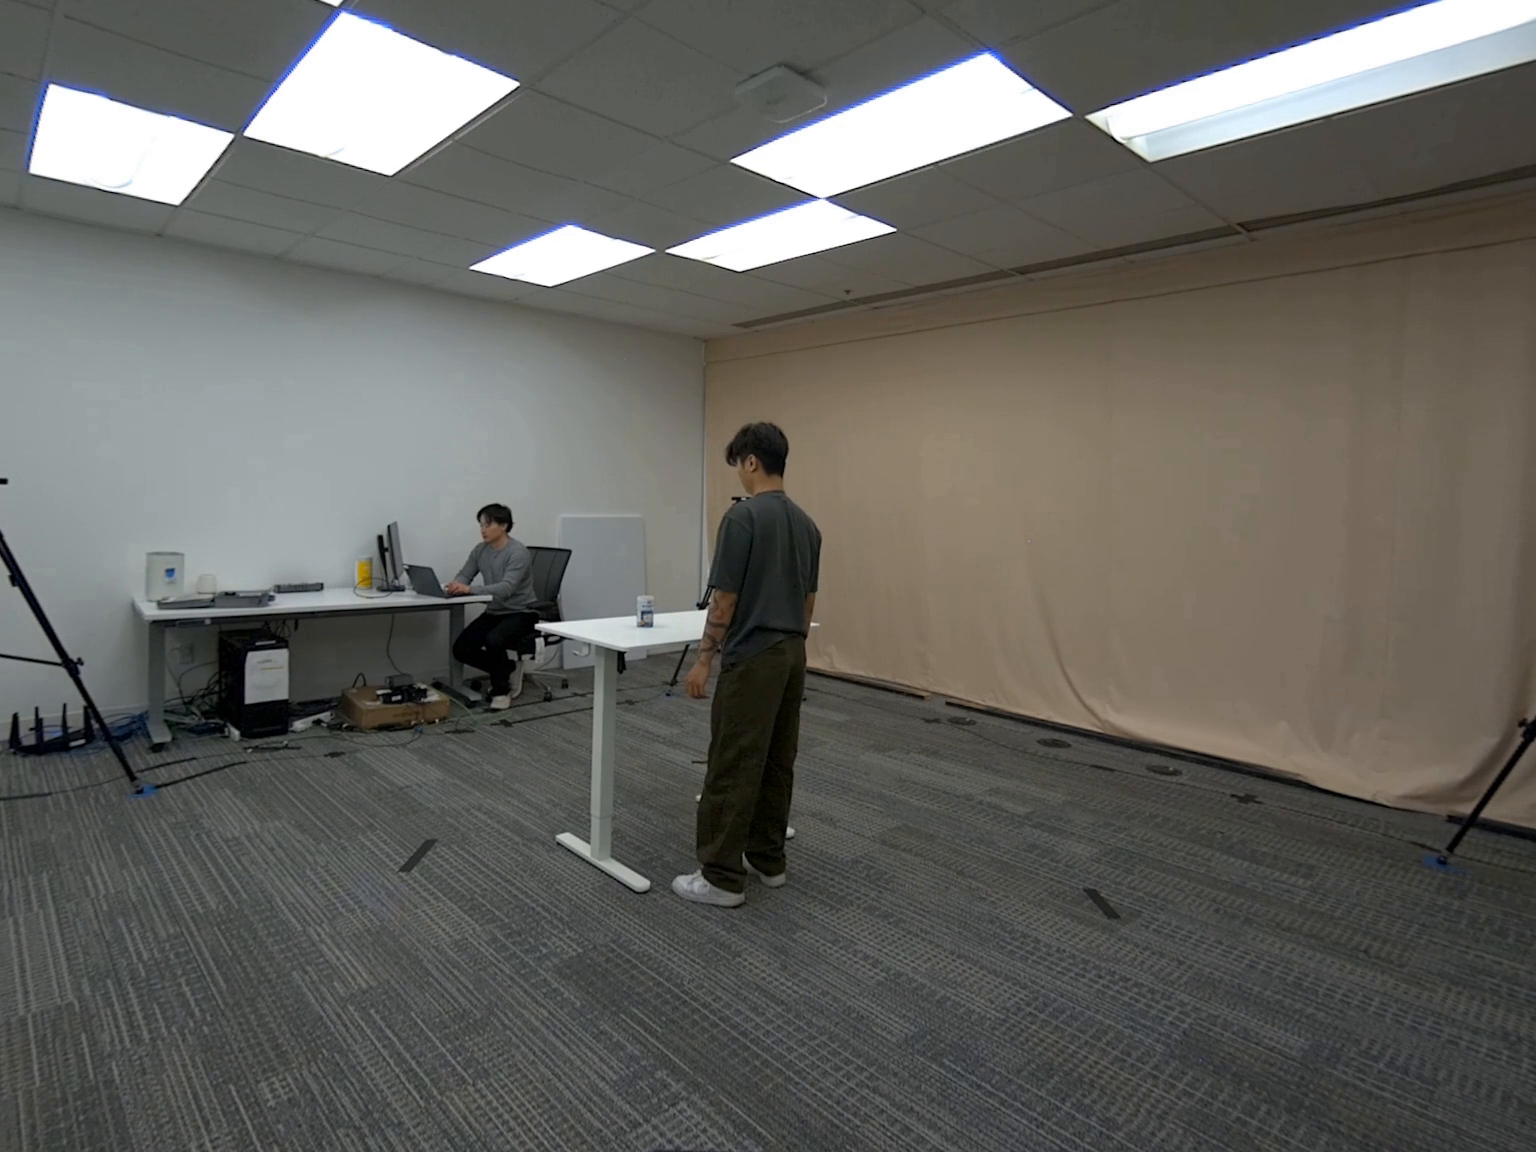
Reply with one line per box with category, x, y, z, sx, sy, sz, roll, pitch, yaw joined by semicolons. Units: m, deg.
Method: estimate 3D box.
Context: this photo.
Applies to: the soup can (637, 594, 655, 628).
soup can;-0.480;0.142;3.293;0.067;0.121;0.067;5;6;-2
